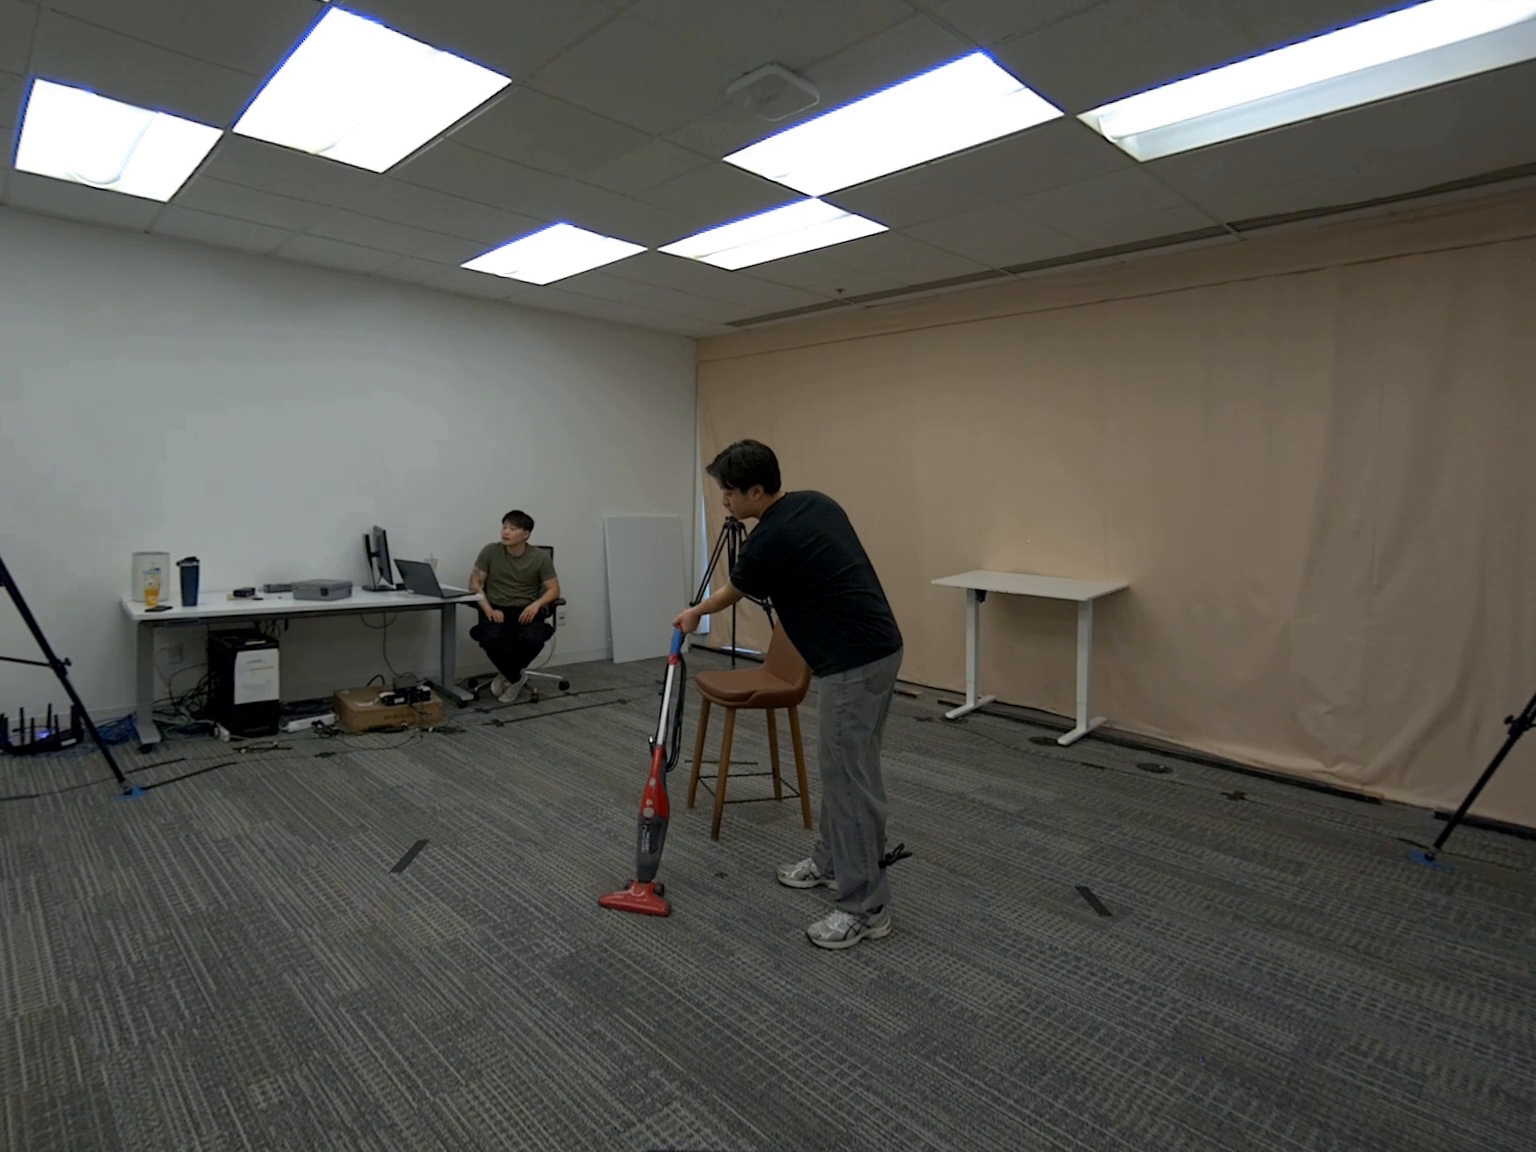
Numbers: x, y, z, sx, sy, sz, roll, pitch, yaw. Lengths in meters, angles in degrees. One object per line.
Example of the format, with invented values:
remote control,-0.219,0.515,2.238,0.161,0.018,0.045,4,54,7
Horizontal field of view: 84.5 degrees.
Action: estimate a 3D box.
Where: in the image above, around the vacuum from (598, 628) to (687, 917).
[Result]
vacuum,-0.399,0.629,3.068,0.255,1.064,0.140,0,-23,14
